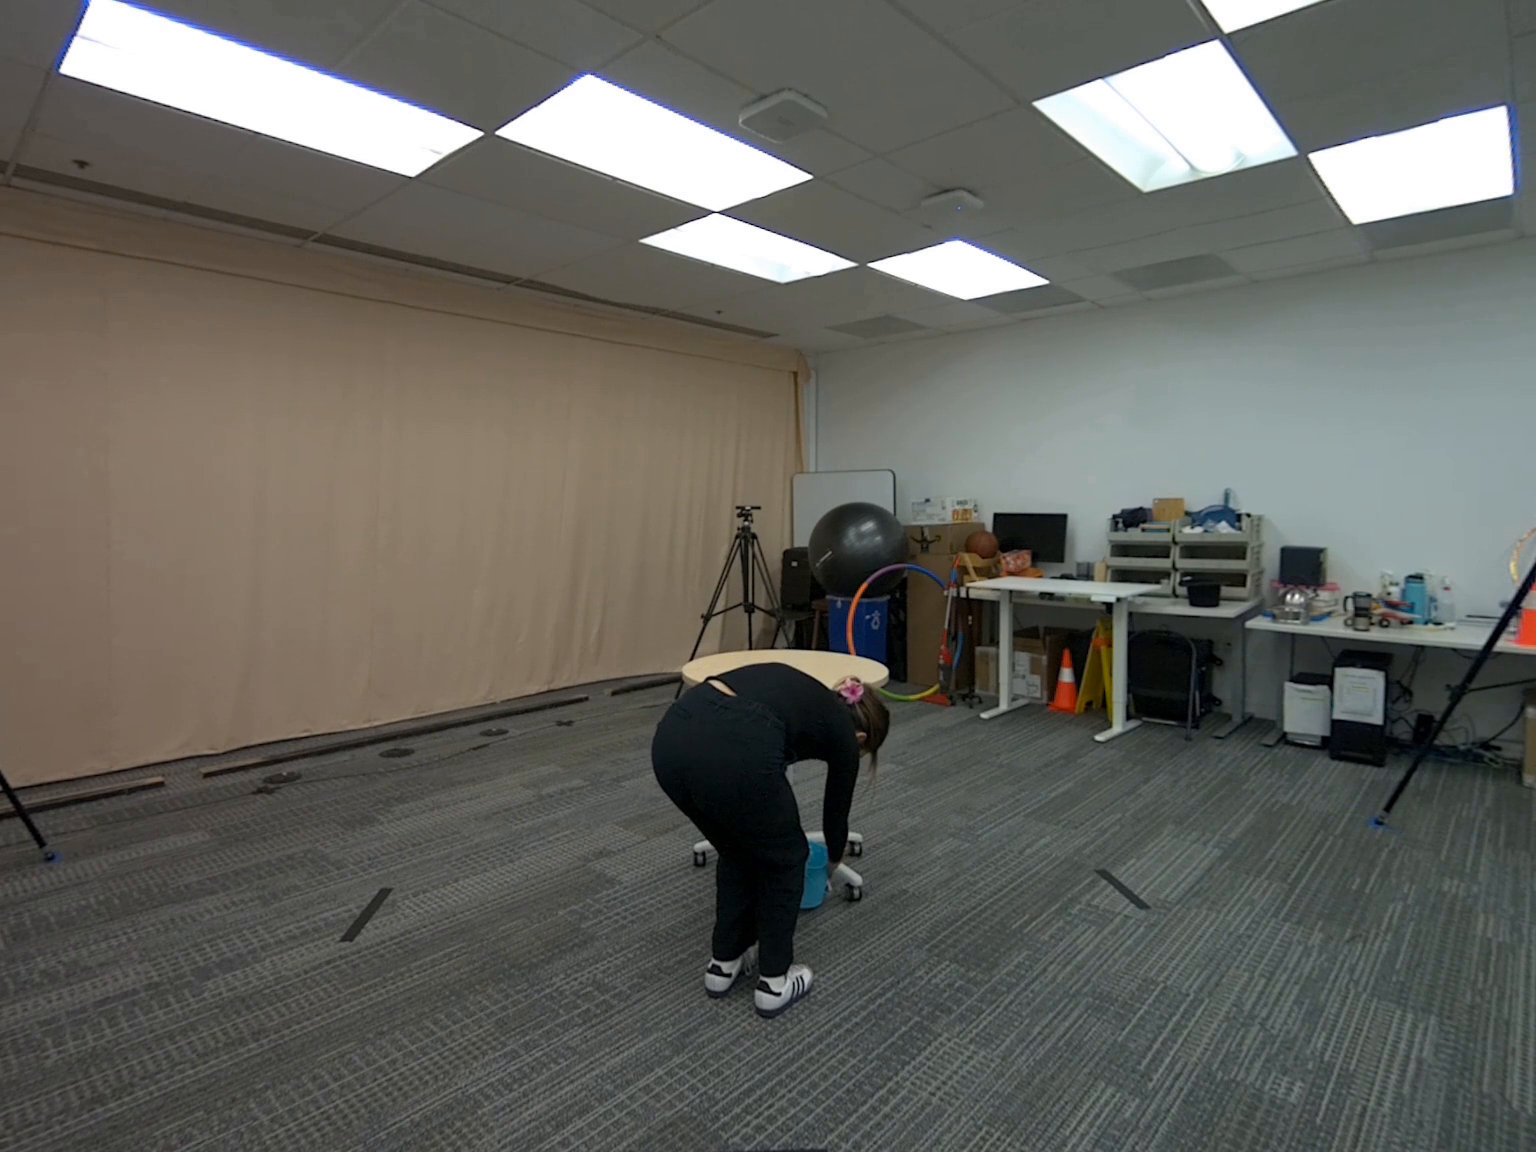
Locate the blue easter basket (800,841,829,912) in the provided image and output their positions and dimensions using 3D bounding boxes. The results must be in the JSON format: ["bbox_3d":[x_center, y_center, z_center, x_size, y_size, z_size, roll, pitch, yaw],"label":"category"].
[{"bbox_3d":[0.118,1.044,2.919,0.243,0.155,0.245,3,5,-2],"label":"blue easter basket"}]
